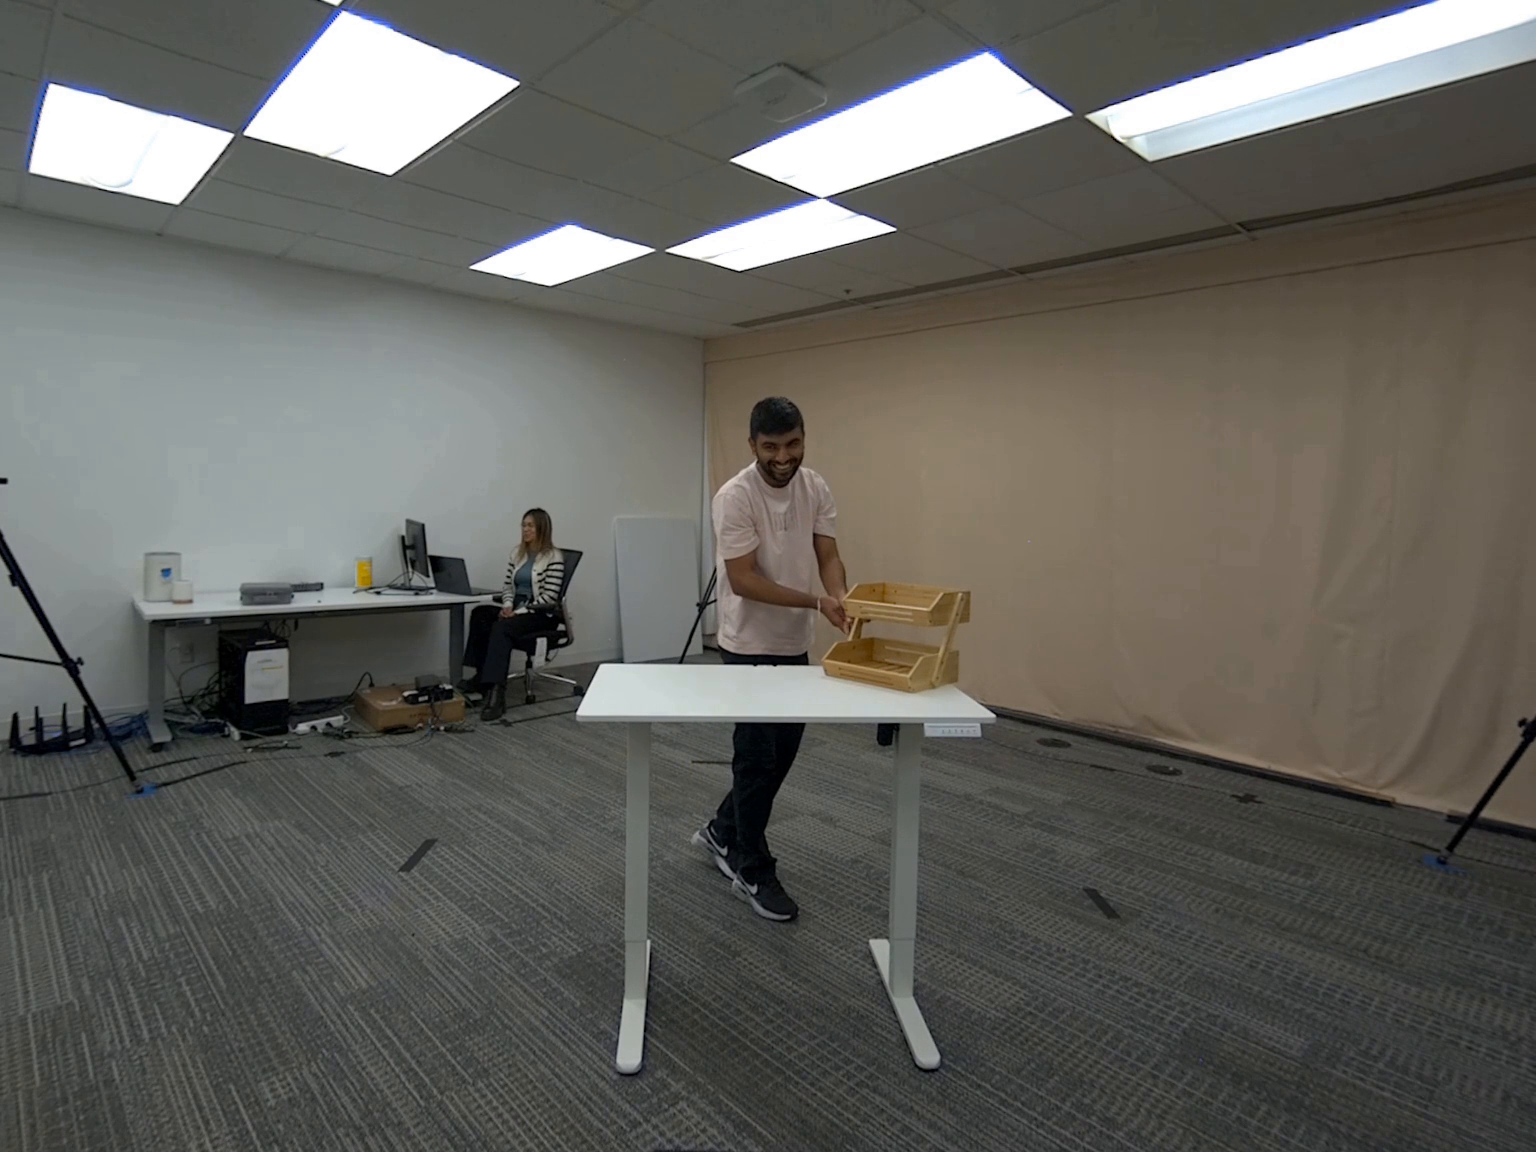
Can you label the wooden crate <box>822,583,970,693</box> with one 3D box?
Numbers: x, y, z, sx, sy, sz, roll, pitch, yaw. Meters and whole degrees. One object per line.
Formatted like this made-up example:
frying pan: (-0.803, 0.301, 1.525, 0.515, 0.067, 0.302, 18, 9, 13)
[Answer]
wooden crate: (0.366, 0.164, 2.429, 0.332, 0.273, 0.295, 4, 4, 39)
